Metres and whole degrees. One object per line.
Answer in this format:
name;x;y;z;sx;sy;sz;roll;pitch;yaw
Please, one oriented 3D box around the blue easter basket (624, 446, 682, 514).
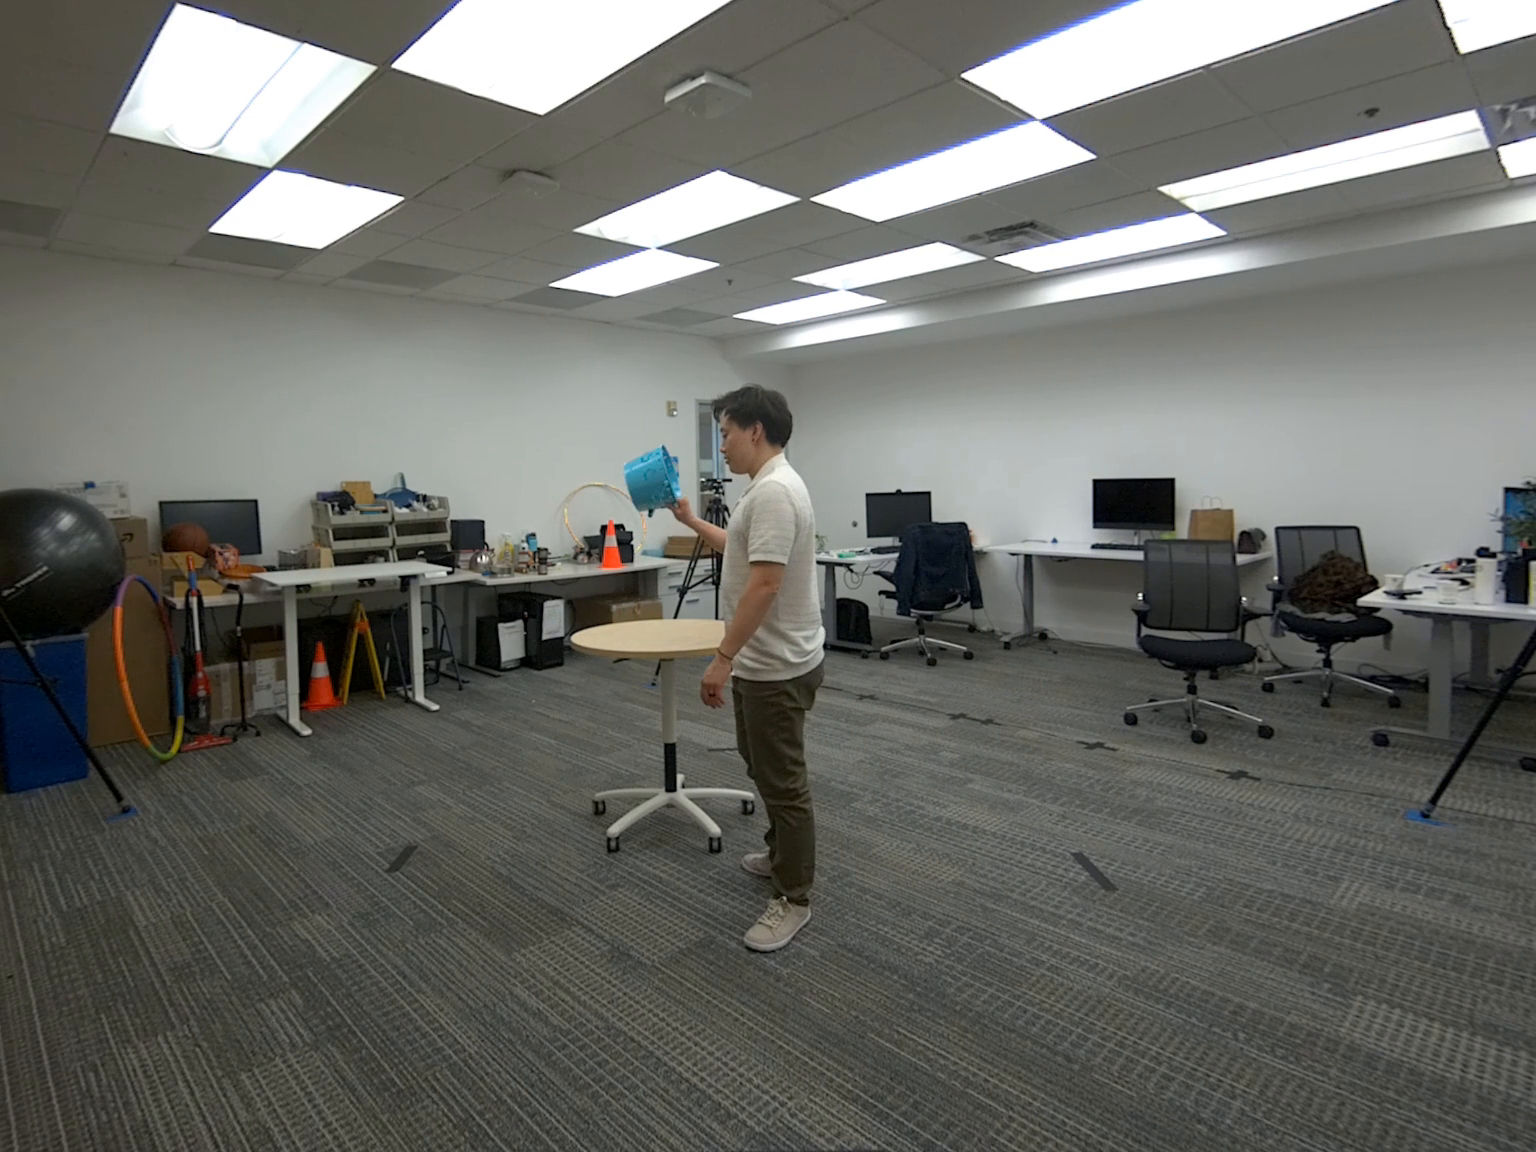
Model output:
blue easter basket;-0.408;-0.321;3.061;0.156;0.243;0.244;-16;4;4
